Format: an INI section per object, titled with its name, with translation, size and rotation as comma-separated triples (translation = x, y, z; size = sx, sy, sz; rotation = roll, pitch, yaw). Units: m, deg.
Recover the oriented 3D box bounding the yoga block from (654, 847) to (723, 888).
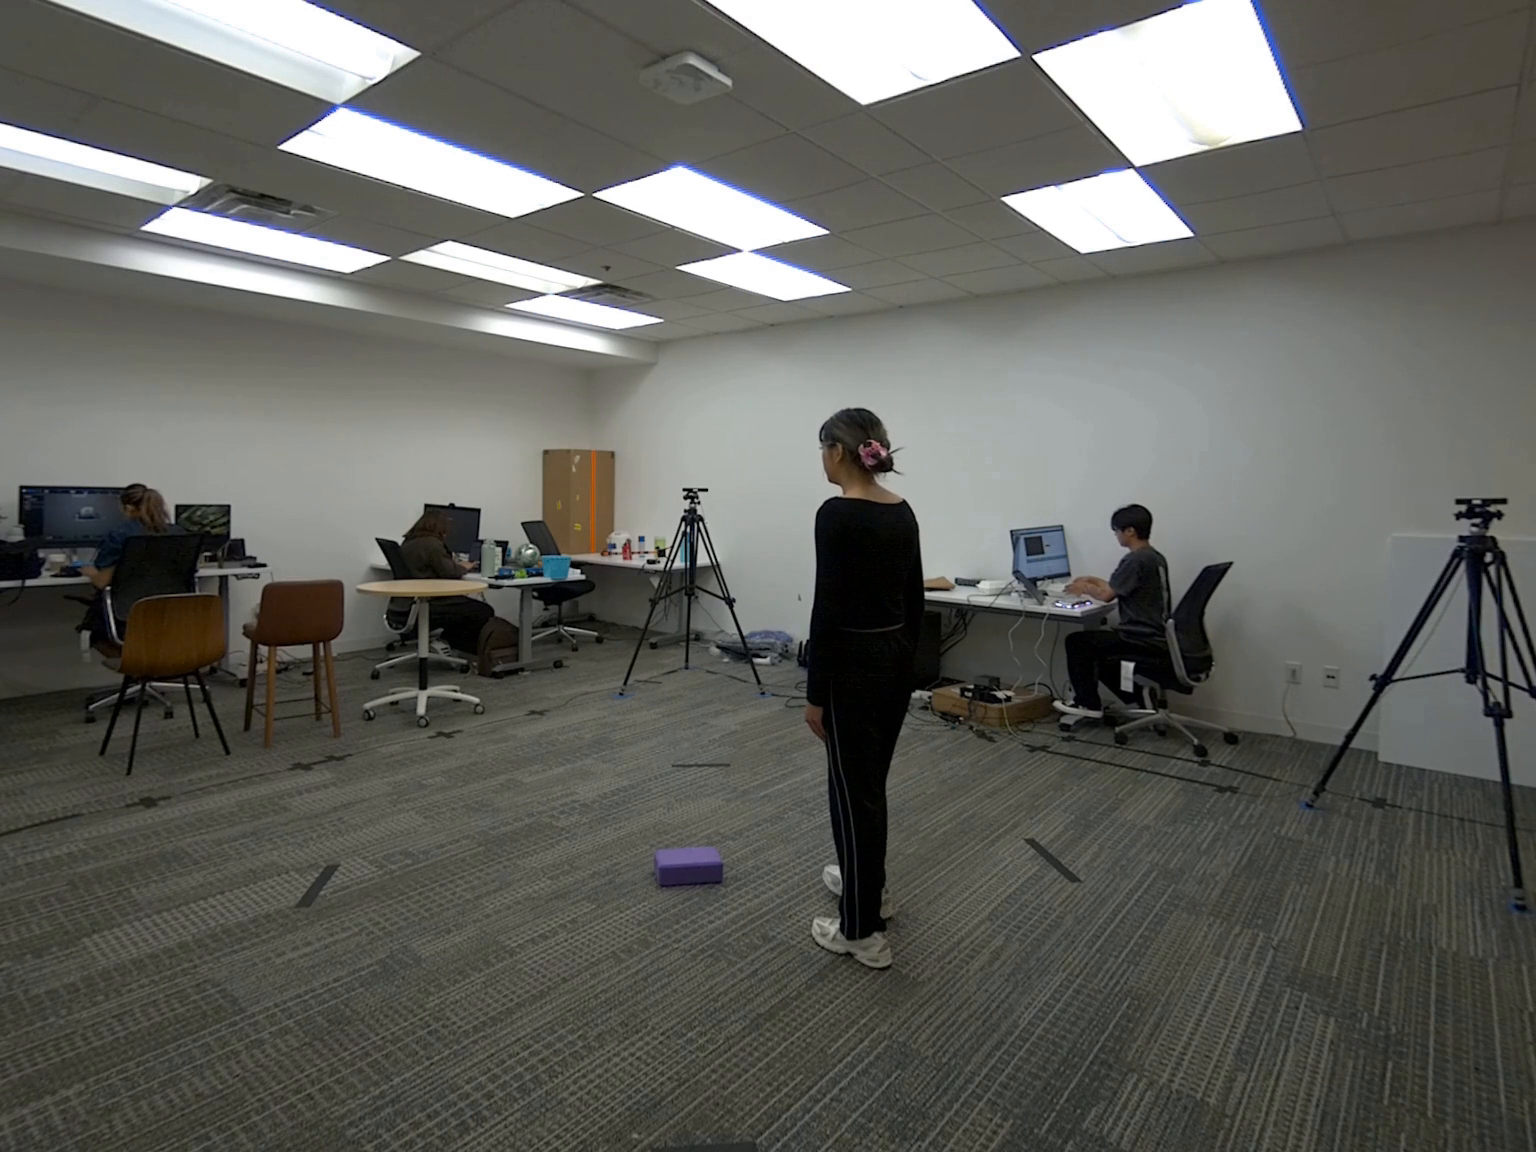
[yoga block]
translation = -0.297, 1.034, 3.048
size = 0.226, 0.076, 0.151
rotation = 0, 4, -12
